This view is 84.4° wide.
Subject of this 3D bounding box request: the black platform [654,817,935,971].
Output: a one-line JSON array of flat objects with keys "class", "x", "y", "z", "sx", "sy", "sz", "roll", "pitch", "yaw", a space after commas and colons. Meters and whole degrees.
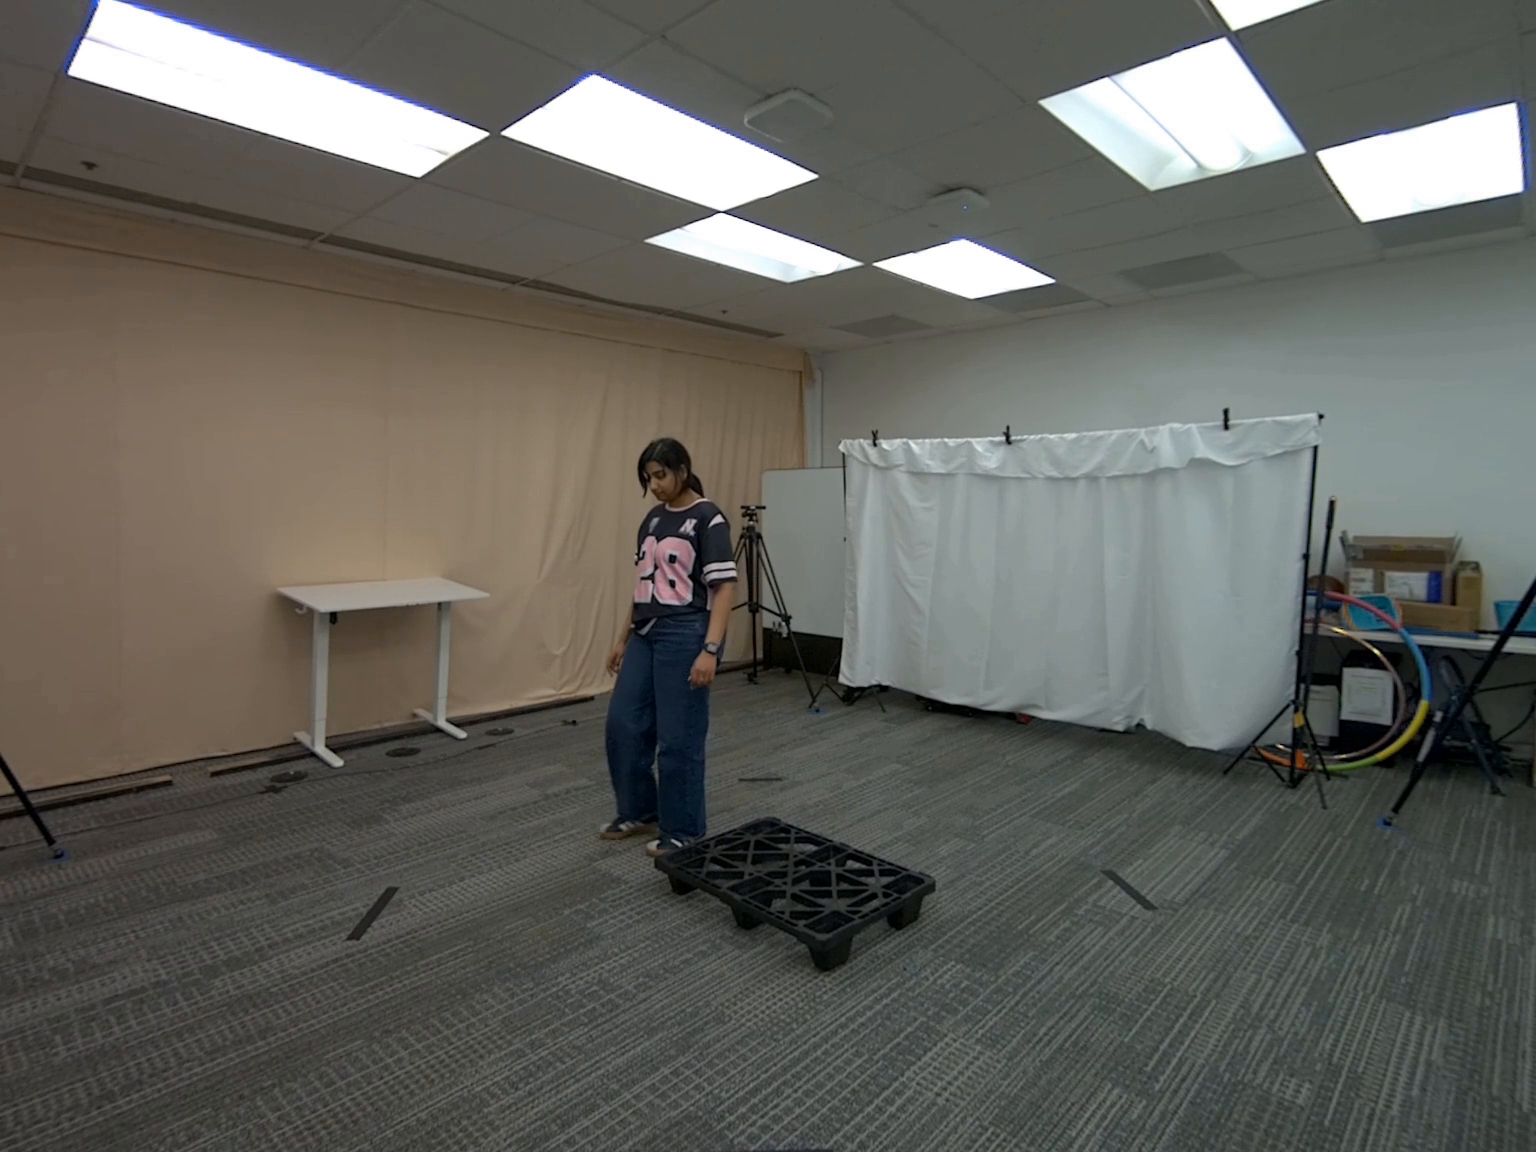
[{"class": "black platform", "x": 0.083, "y": 1.084, "z": 2.921, "sx": 0.587, "sy": 0.143, "sz": 0.832, "roll": -6, "pitch": 7, "yaw": -44}]
